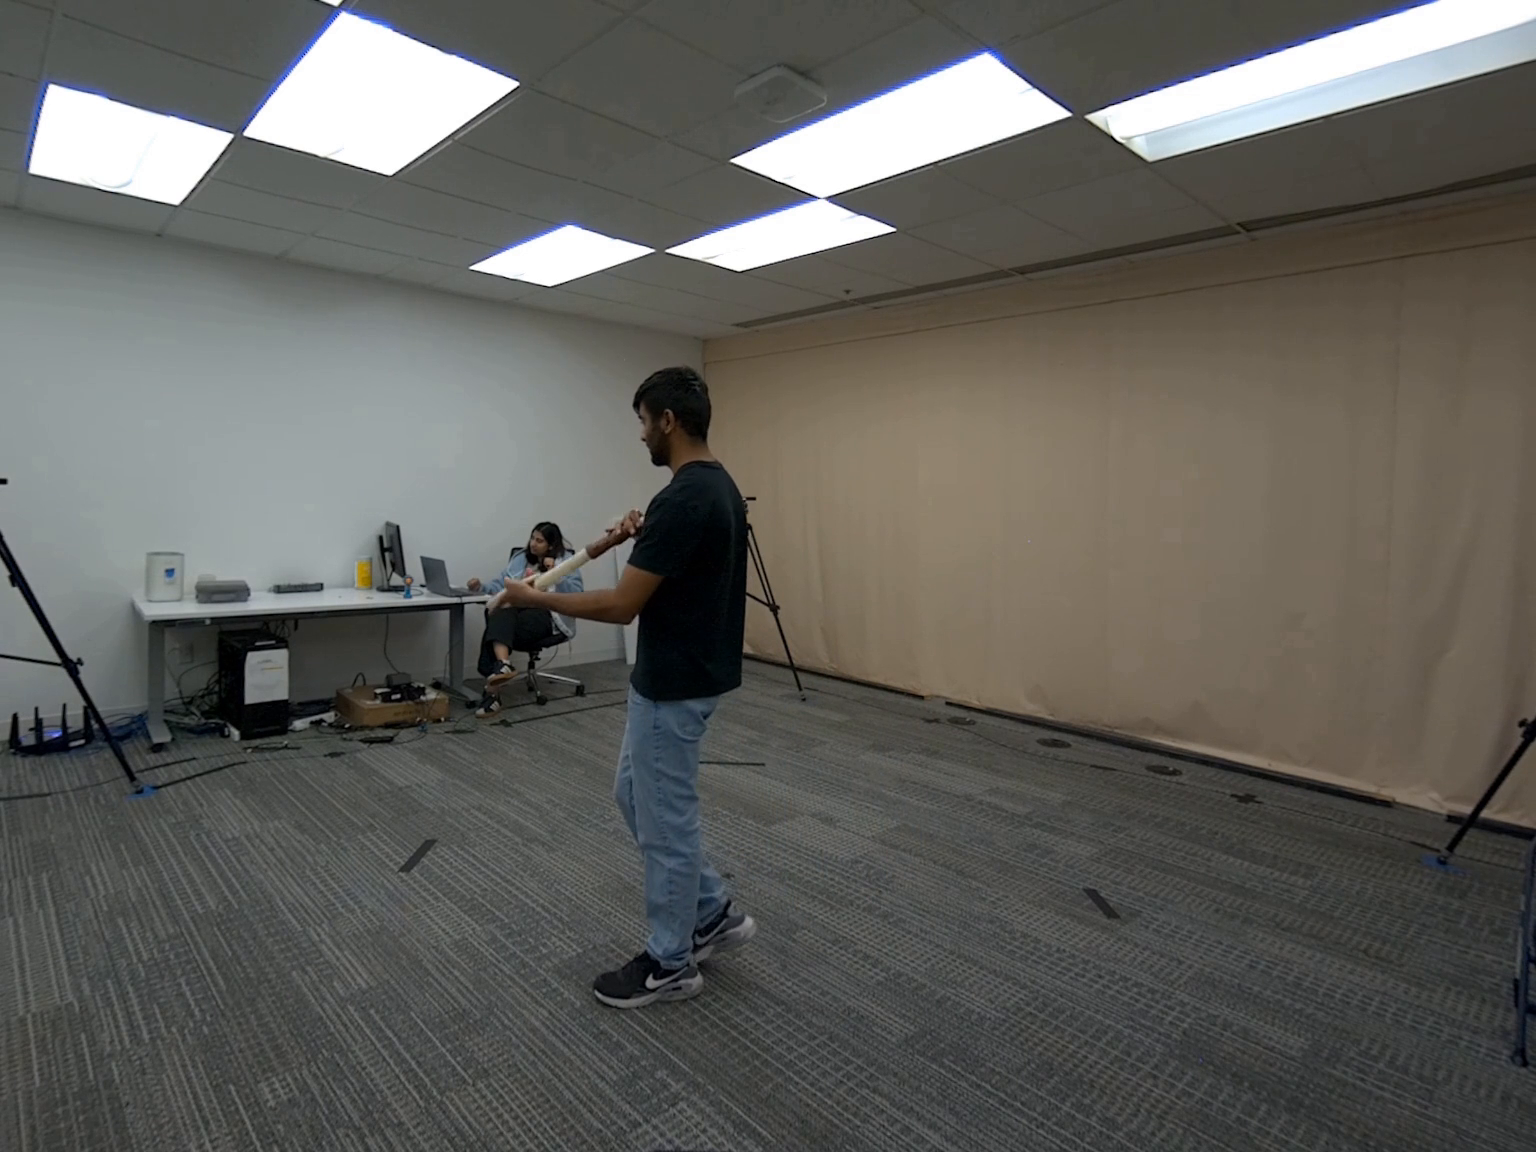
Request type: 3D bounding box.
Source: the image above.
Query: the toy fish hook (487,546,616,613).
[{"bbox_3d":[-0.544,-0.024,2.346,0.507,0.048,0.226,-31,9,6],"label":"toy fish hook"}]
